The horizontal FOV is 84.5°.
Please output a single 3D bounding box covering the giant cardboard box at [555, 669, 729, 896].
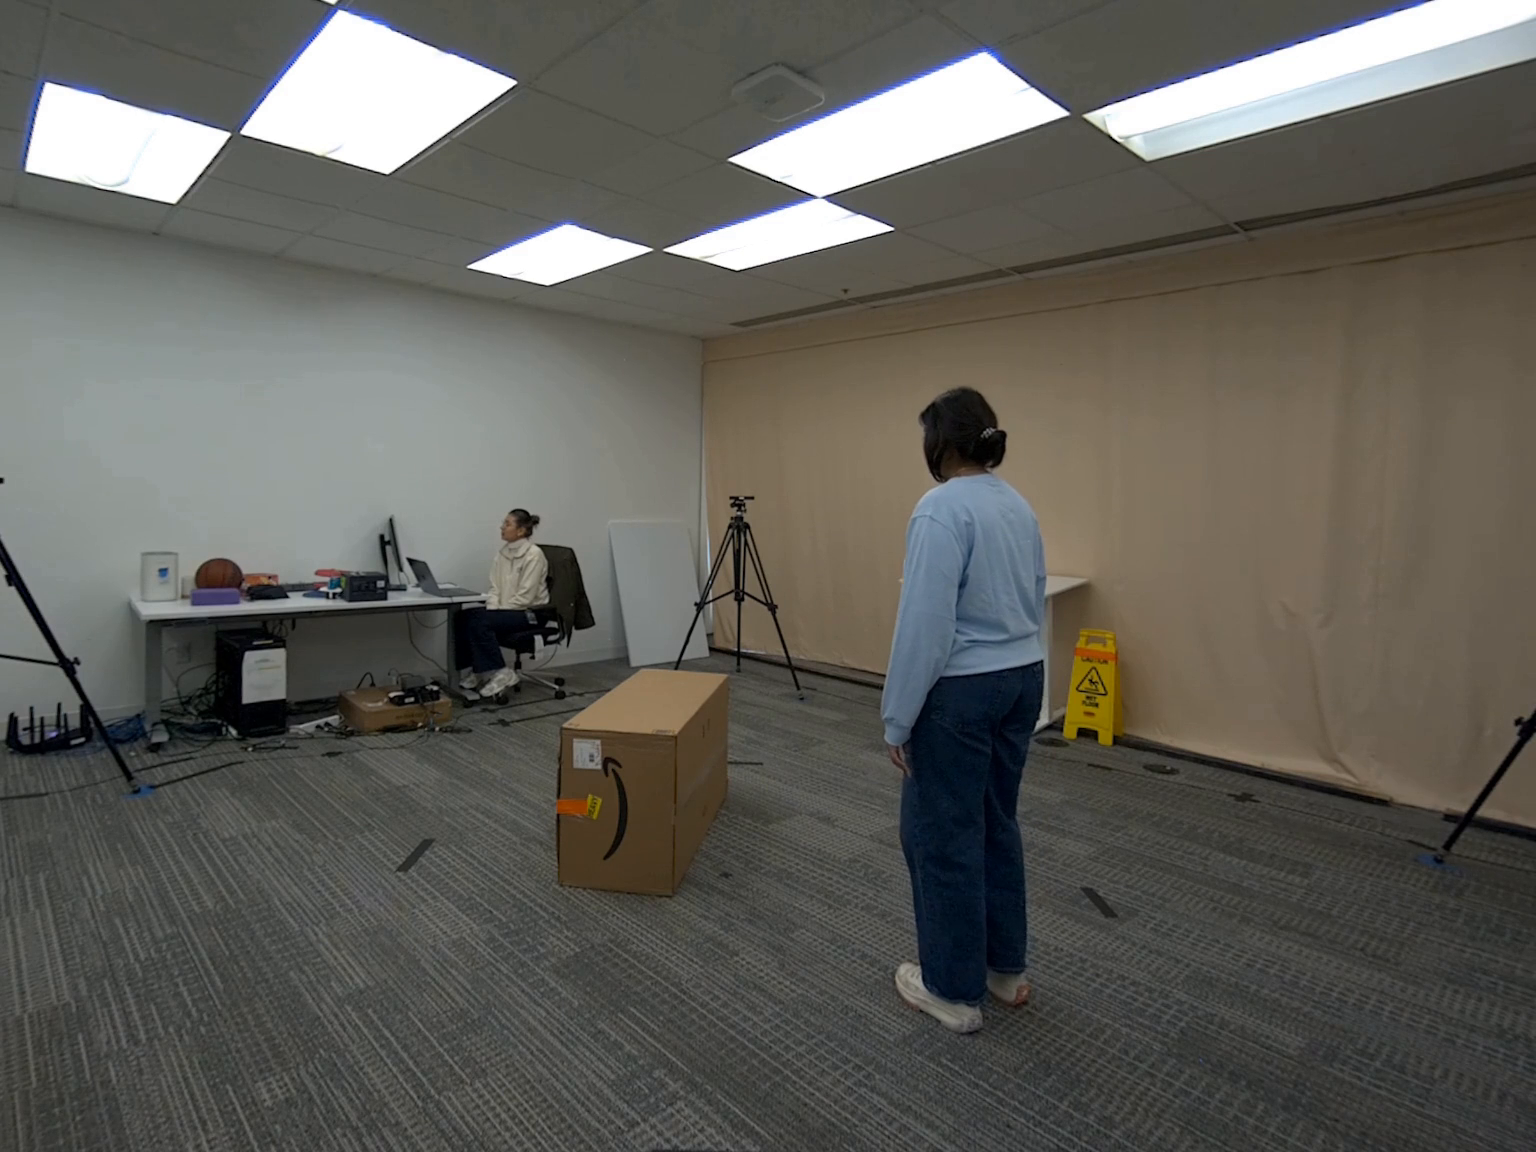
[{"bbox_3d":[-0.471,0.774,3.444,0.429,0.576,1.021,1,5,8],"label":"giant cardboard box"}]
